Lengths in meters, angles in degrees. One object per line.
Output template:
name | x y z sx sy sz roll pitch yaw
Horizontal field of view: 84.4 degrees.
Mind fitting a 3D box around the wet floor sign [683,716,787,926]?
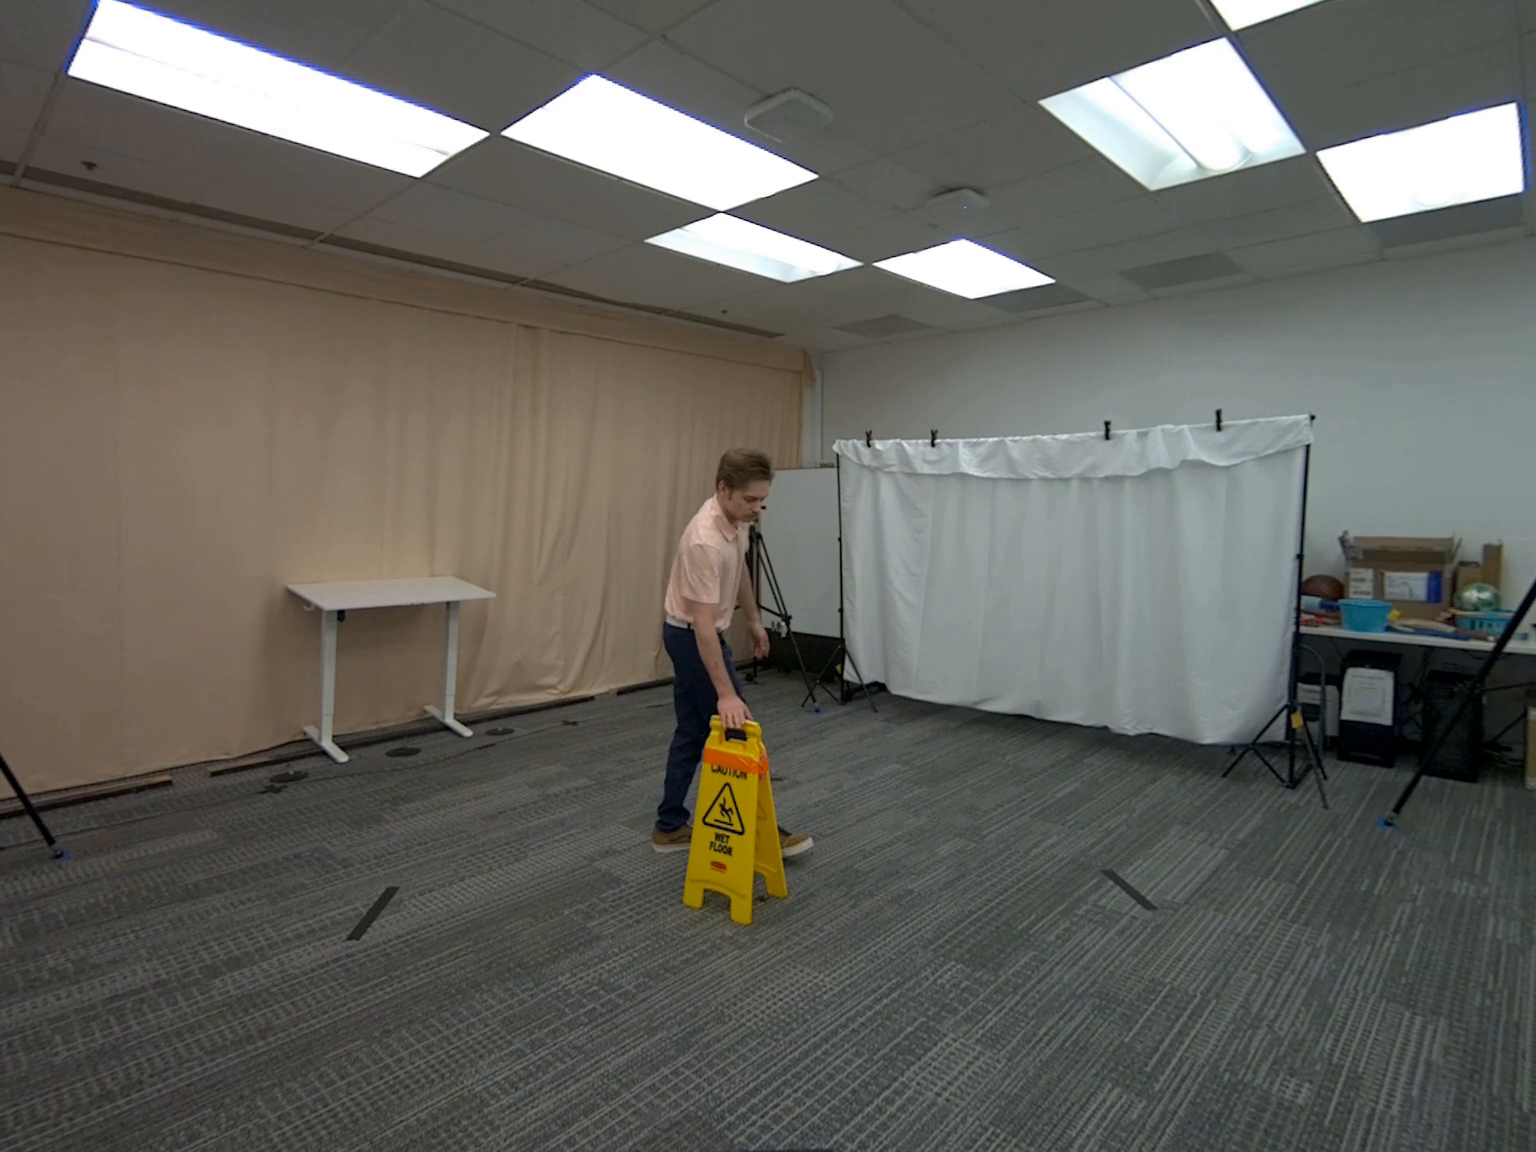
wet floor sign | -0.108 0.821 2.957 0.291 0.645 0.281 3 4 34
